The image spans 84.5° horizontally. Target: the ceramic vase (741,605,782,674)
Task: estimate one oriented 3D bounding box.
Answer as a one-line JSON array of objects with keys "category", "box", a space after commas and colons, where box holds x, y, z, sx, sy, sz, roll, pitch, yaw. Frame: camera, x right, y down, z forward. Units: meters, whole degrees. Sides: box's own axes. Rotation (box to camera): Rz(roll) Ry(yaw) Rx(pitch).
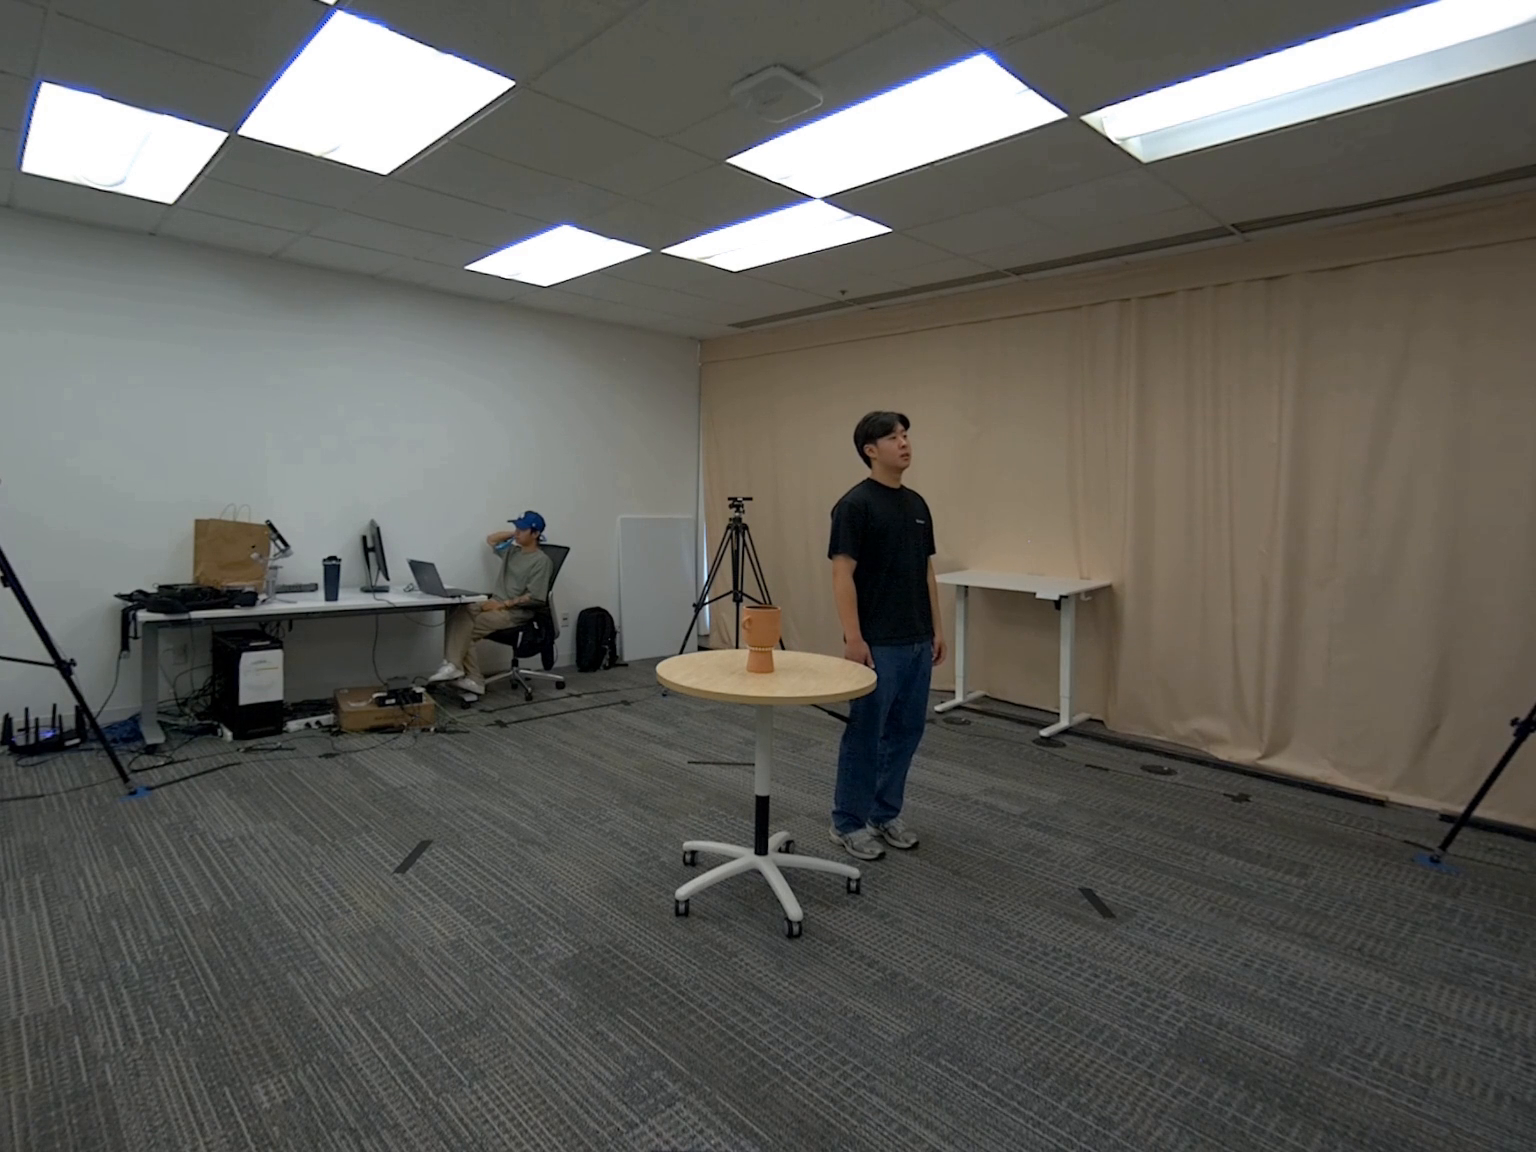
[{"category": "ceramic vase", "box": [-0.032, 0.222, 2.918, 0.158, 0.219, 0.136, 2, 3, -9]}]
